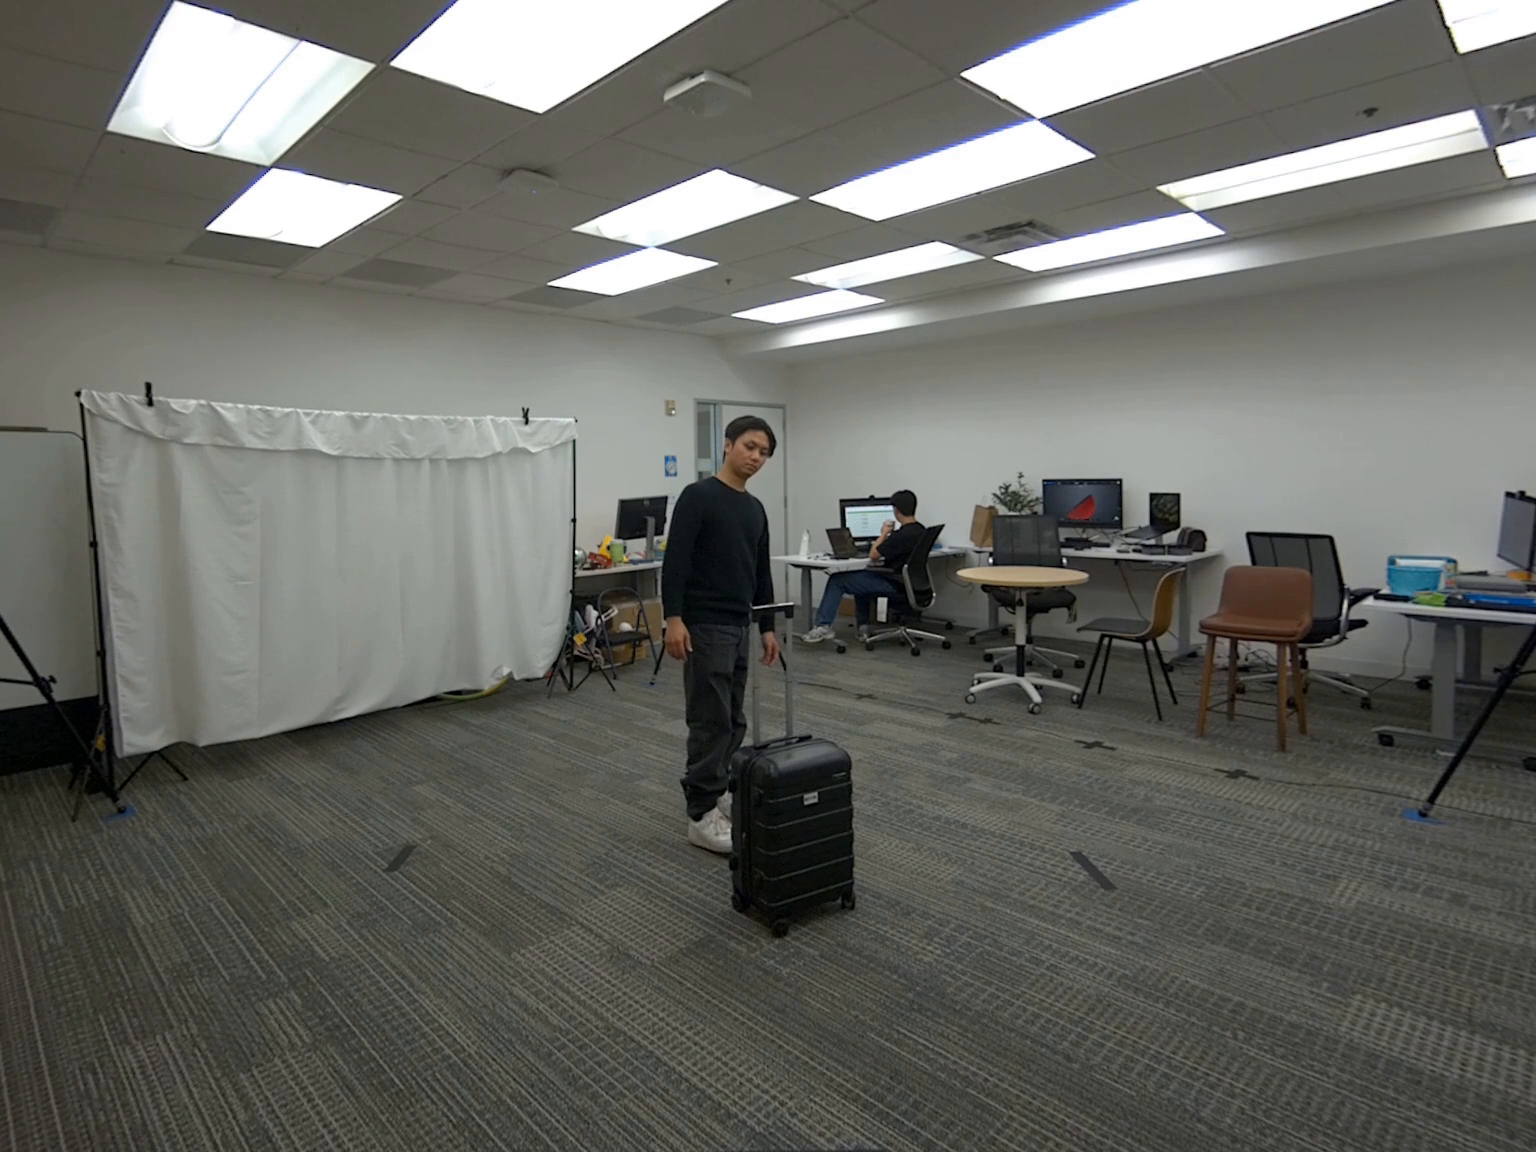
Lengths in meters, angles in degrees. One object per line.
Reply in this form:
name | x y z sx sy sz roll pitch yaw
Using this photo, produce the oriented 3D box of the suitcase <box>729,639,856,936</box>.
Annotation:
suitcase | 0.088 0.605 2.732 0.375 0.973 0.264 -4 7 -31
